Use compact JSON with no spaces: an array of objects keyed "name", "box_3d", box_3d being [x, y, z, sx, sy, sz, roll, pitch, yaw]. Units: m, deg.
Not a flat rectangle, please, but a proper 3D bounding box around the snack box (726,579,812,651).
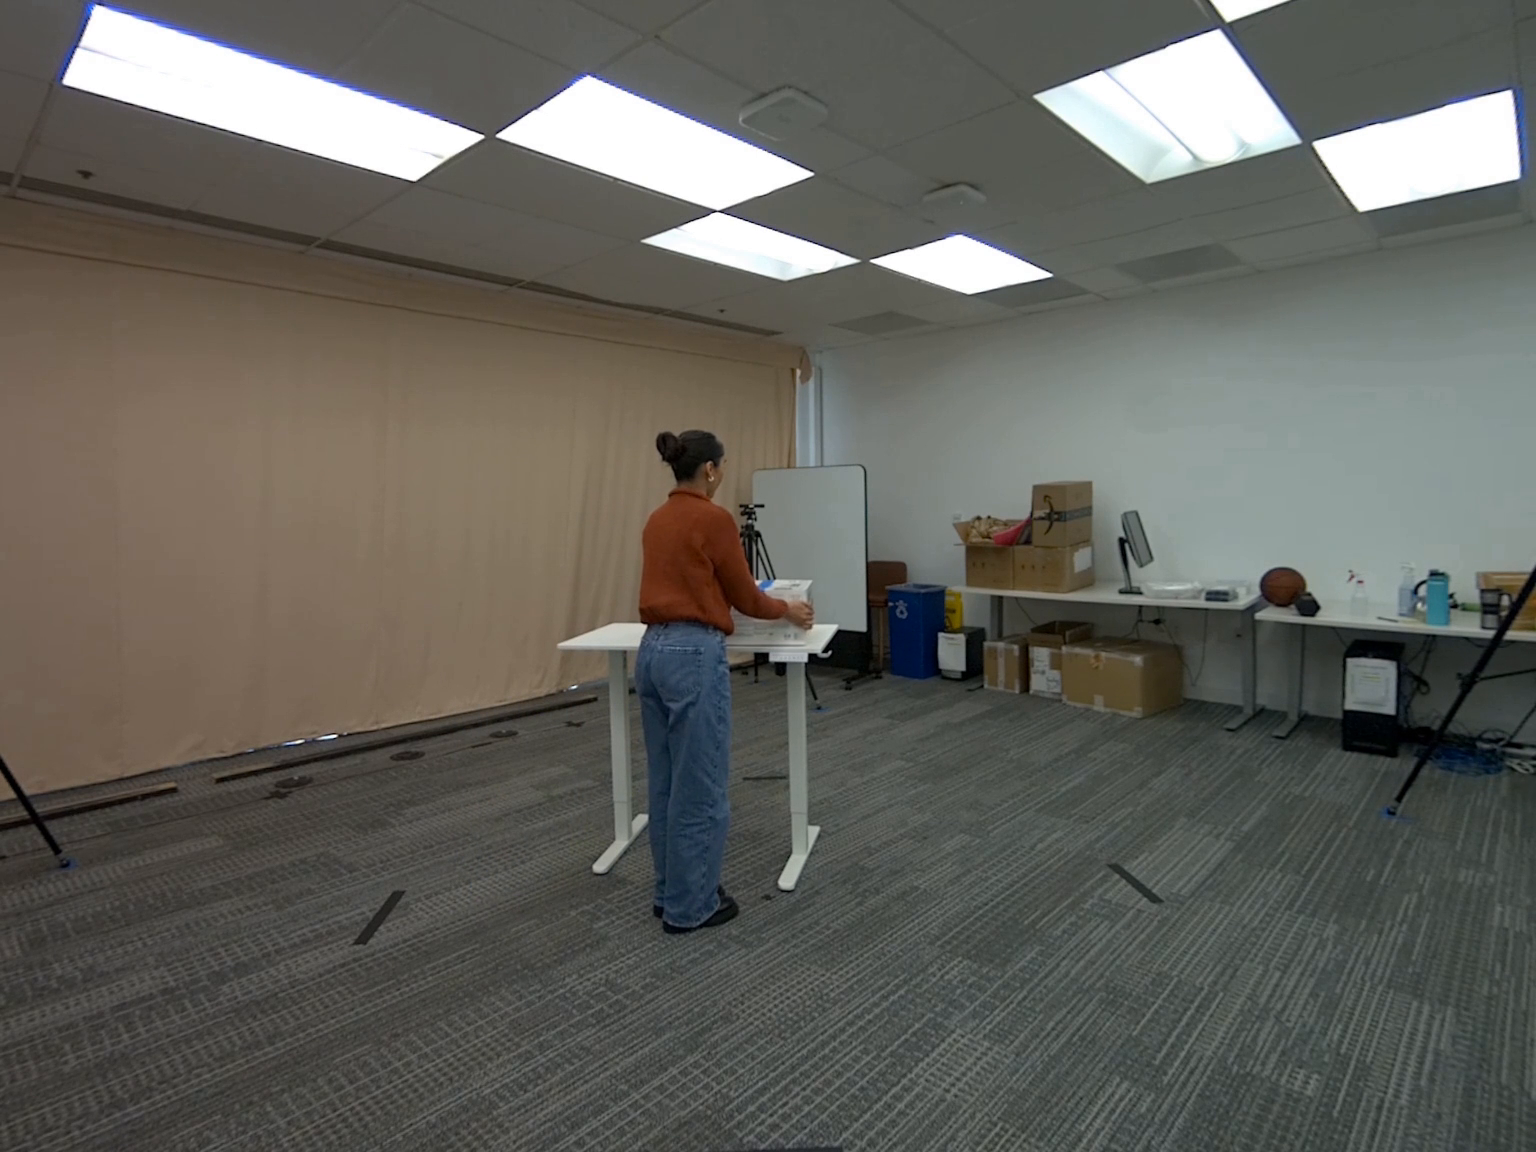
[{"name":"snack box","box_3d":[-0.001,0.132,3.214,0.344,0.205,0.402,-2,5,8]}]
